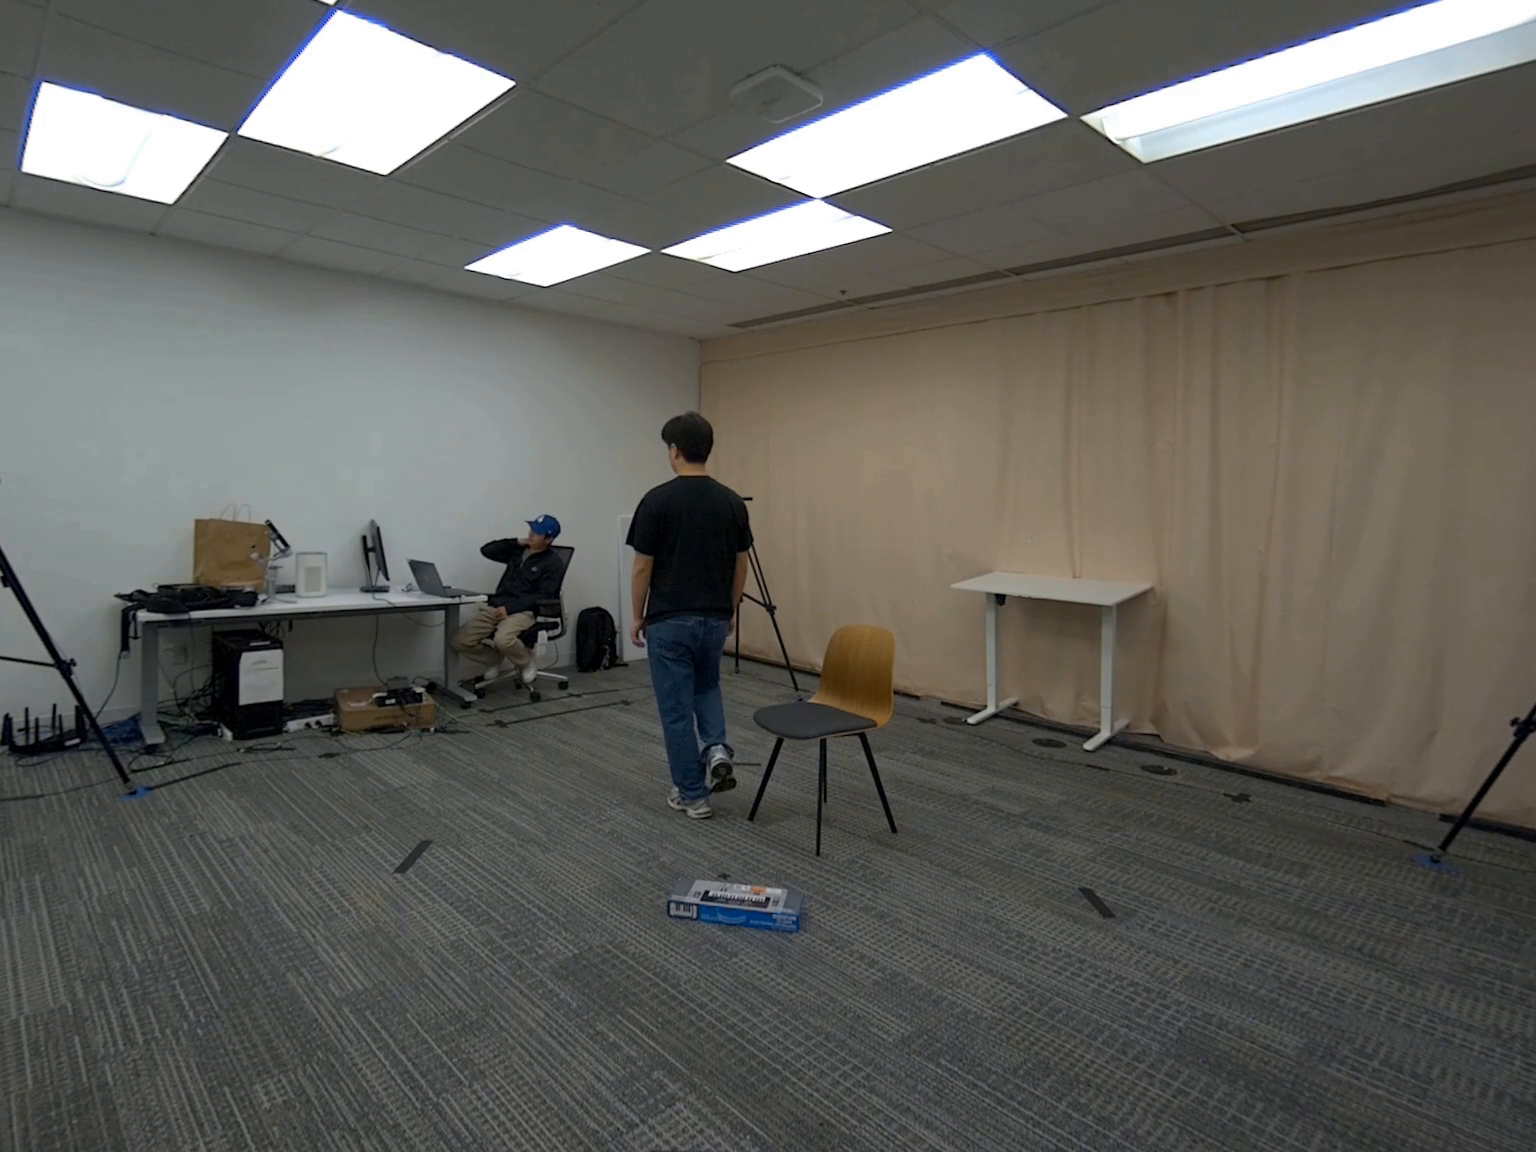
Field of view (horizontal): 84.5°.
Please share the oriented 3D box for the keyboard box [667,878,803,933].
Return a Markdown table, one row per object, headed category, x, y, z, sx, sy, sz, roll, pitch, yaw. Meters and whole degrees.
| category | x | y | z | sx | sy | sz | roll | pitch | yaw |
| --- | --- | --- | --- | --- | --- | --- | --- | --- | --- |
| keyboard box | -0.111 | 1.109 | 2.821 | 0.441 | 0.059 | 0.175 | 2 | 5 | 11 |
